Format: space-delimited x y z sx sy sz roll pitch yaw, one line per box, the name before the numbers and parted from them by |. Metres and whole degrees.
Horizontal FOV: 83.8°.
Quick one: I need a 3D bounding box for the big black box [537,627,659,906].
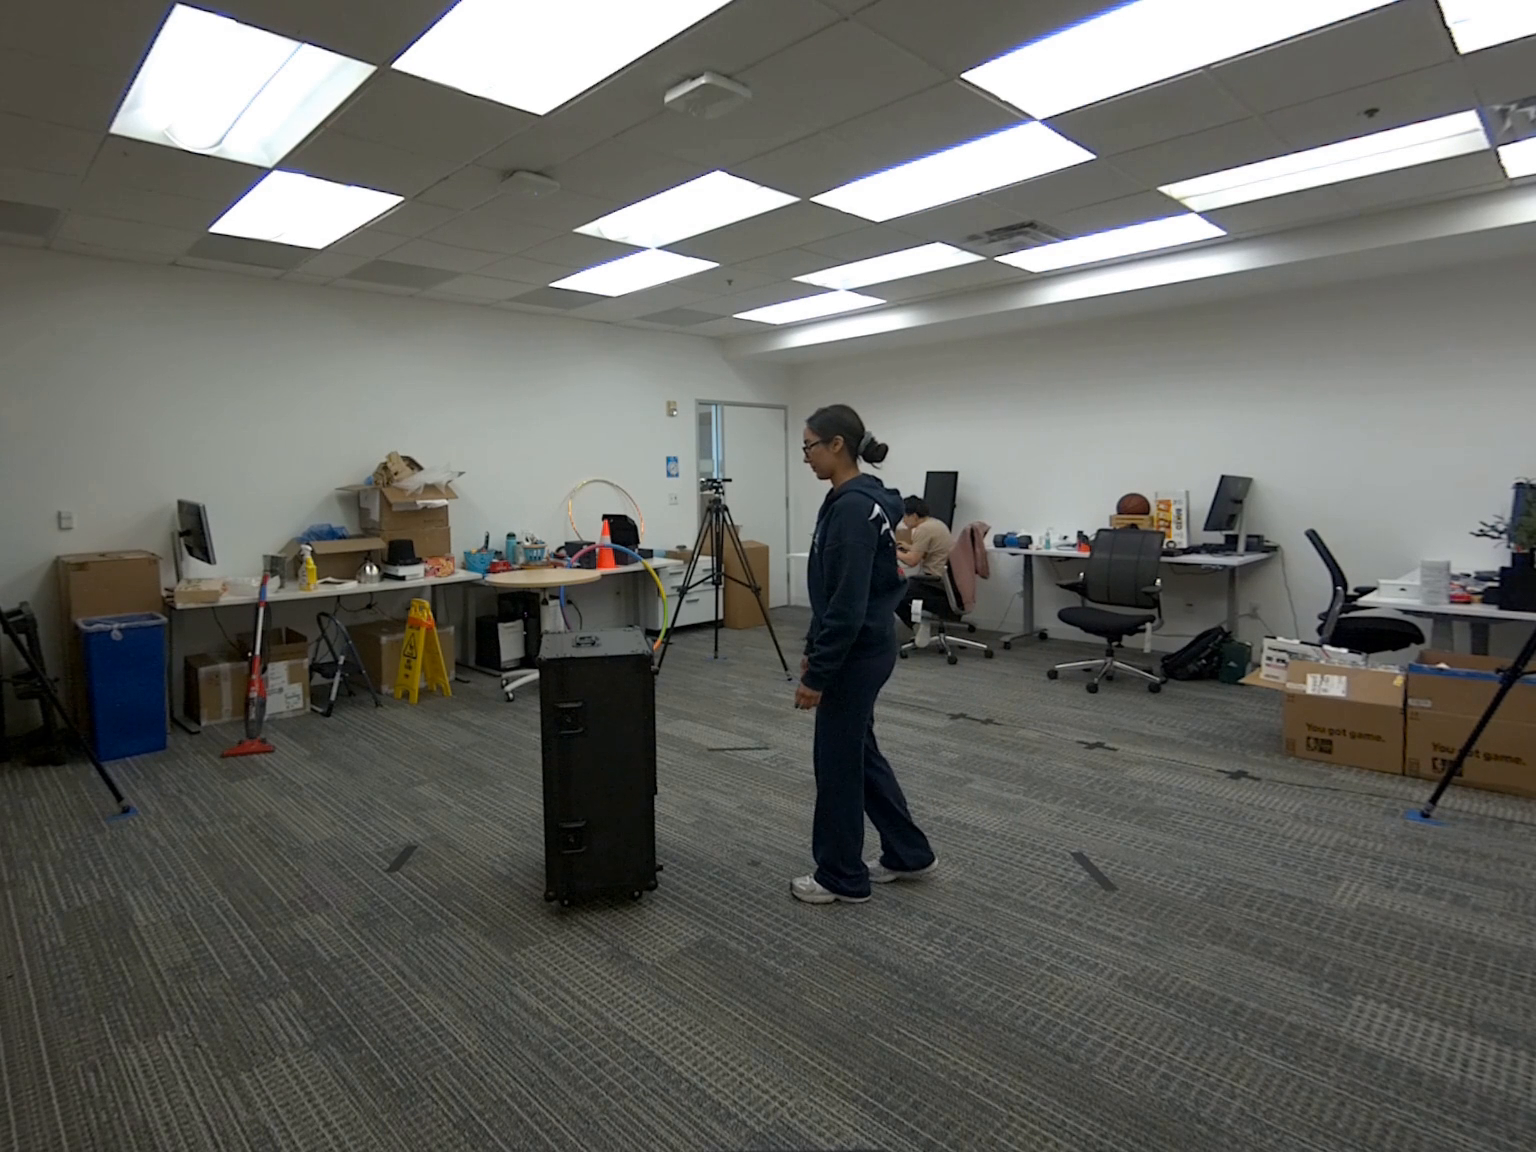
big black box | -0.583 0.640 2.957 0.392 0.859 0.529 -1 4 -12
